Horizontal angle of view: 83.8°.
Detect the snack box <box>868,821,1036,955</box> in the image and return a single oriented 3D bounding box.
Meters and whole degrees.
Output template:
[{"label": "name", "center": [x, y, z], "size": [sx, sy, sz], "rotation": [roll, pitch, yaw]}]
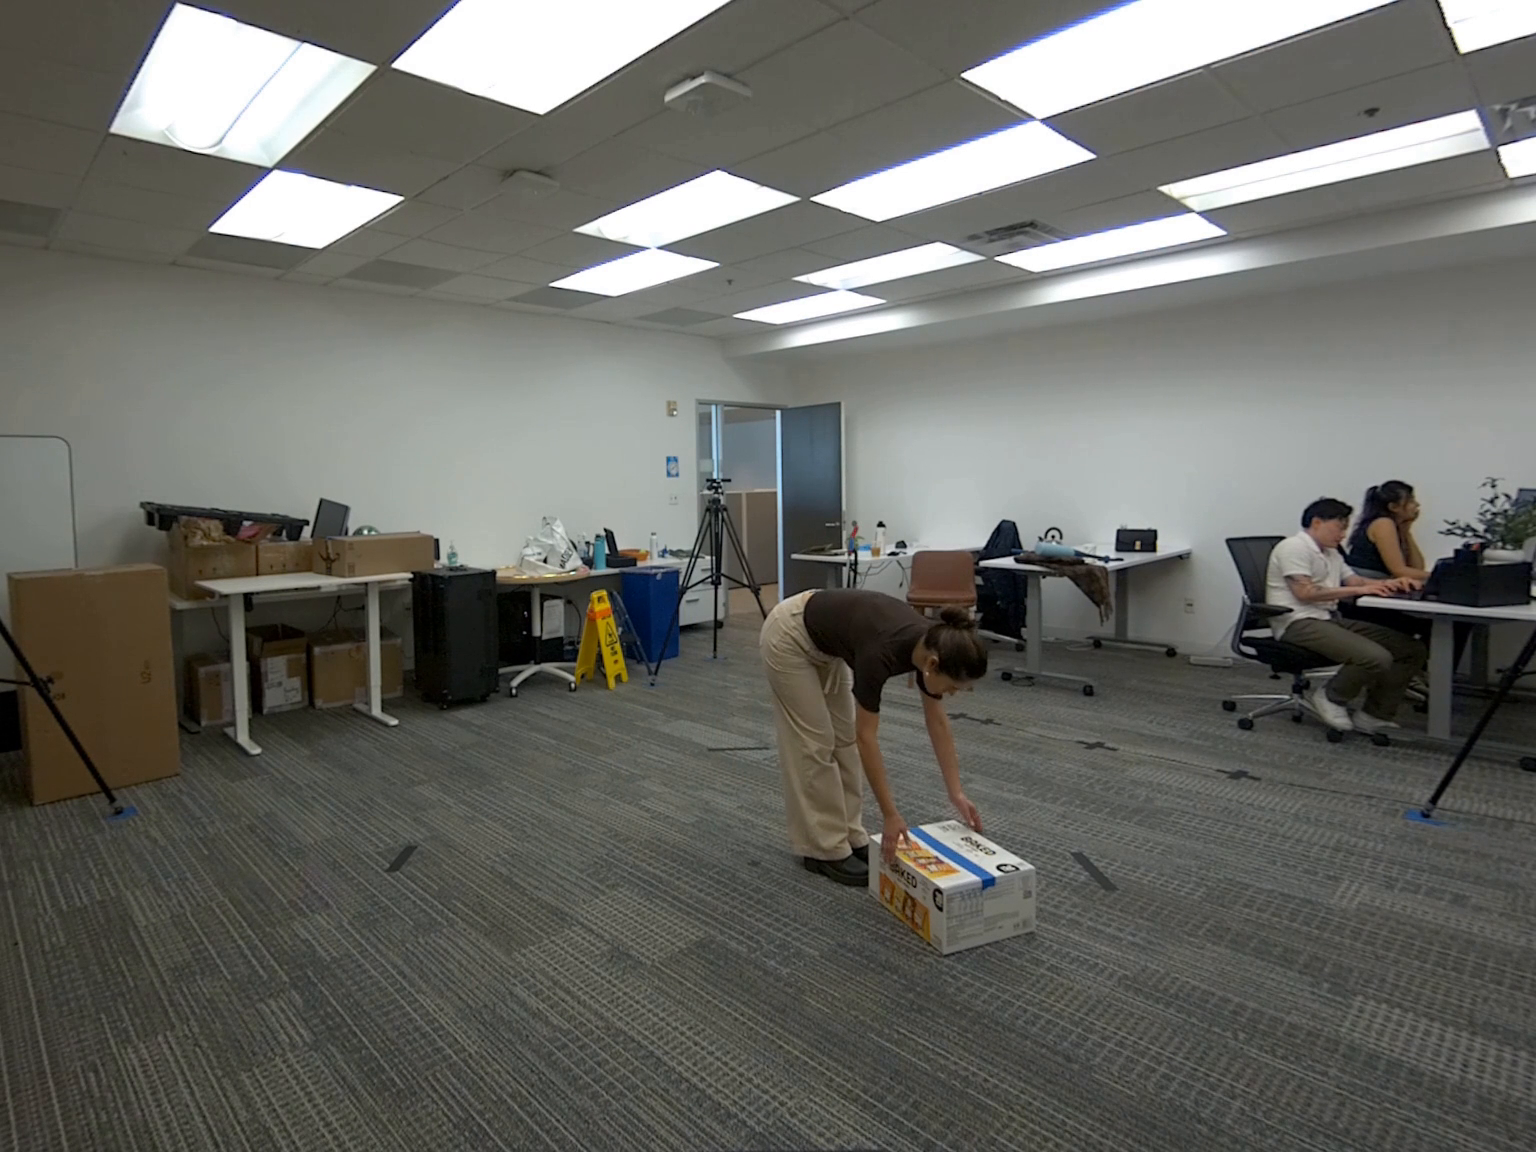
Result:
[{"label": "snack box", "center": [0.583, 0.976, 2.719], "size": [0.334, 0.205, 0.415], "rotation": [-4, 6, -23]}]
